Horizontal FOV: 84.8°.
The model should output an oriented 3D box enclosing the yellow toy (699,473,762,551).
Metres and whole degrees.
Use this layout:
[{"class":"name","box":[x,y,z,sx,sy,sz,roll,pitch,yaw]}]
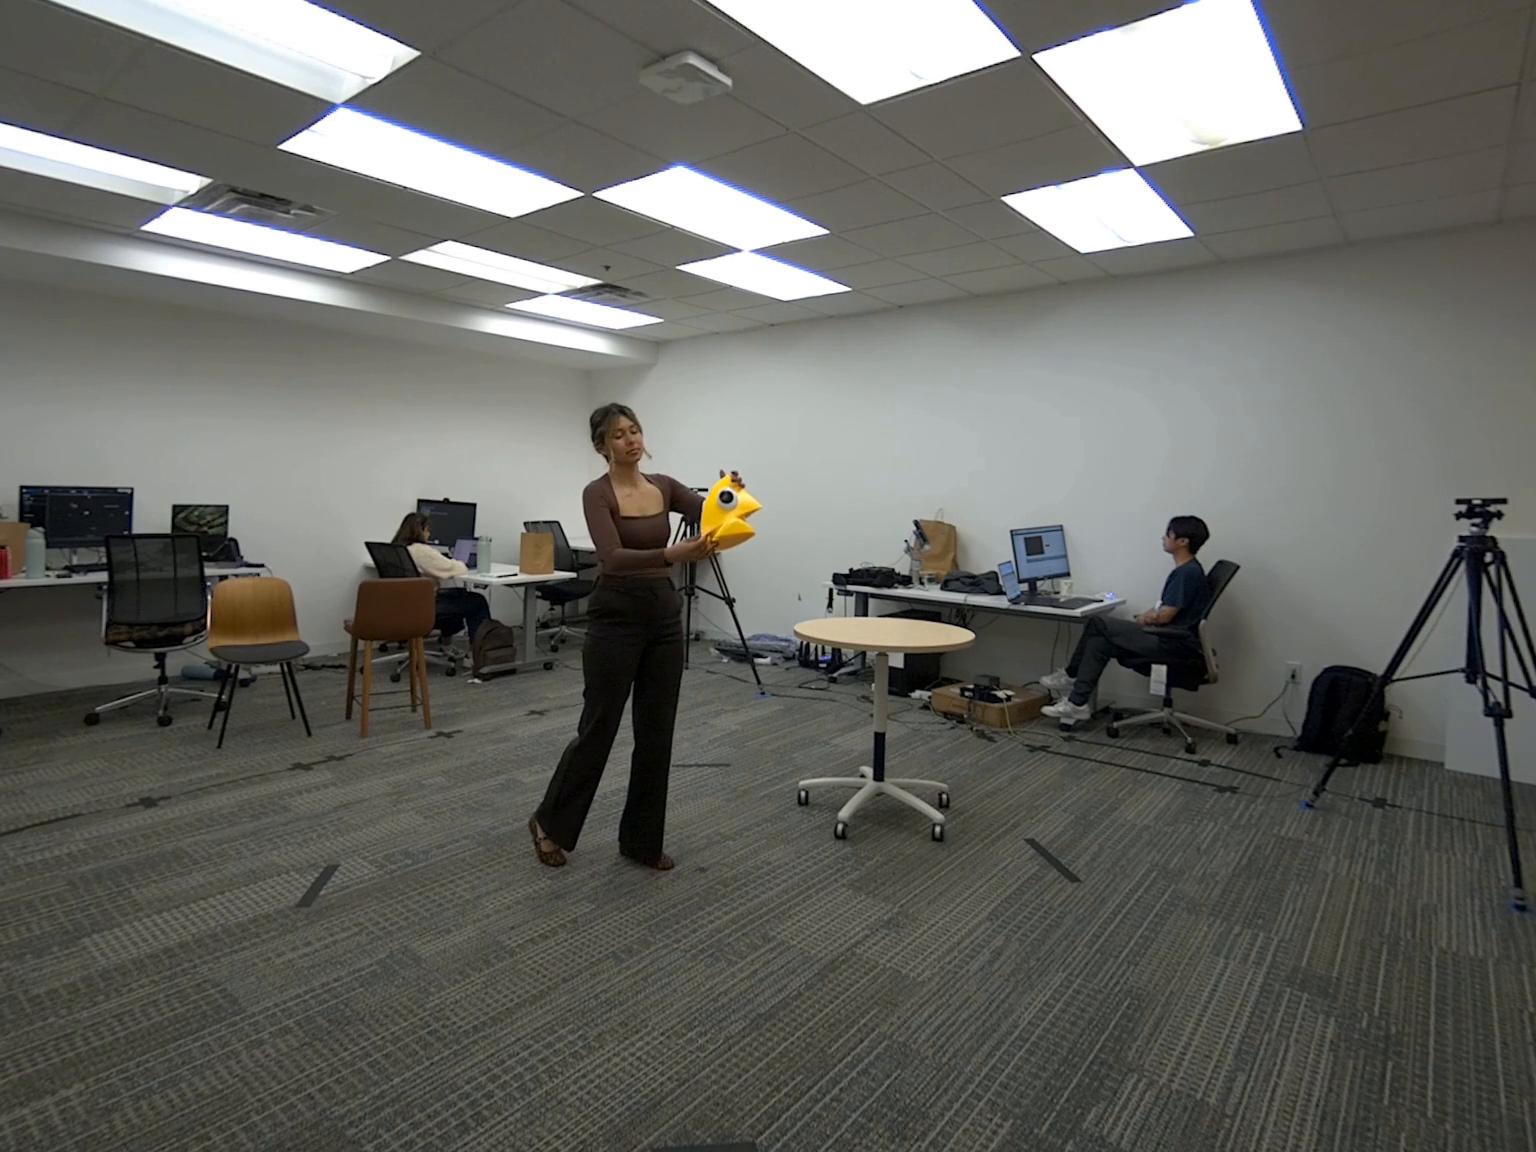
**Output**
[{"class":"yellow toy","box":[-0.170,-0.210,2.748,0.188,0.234,0.207,-6,-13,-36]}]
